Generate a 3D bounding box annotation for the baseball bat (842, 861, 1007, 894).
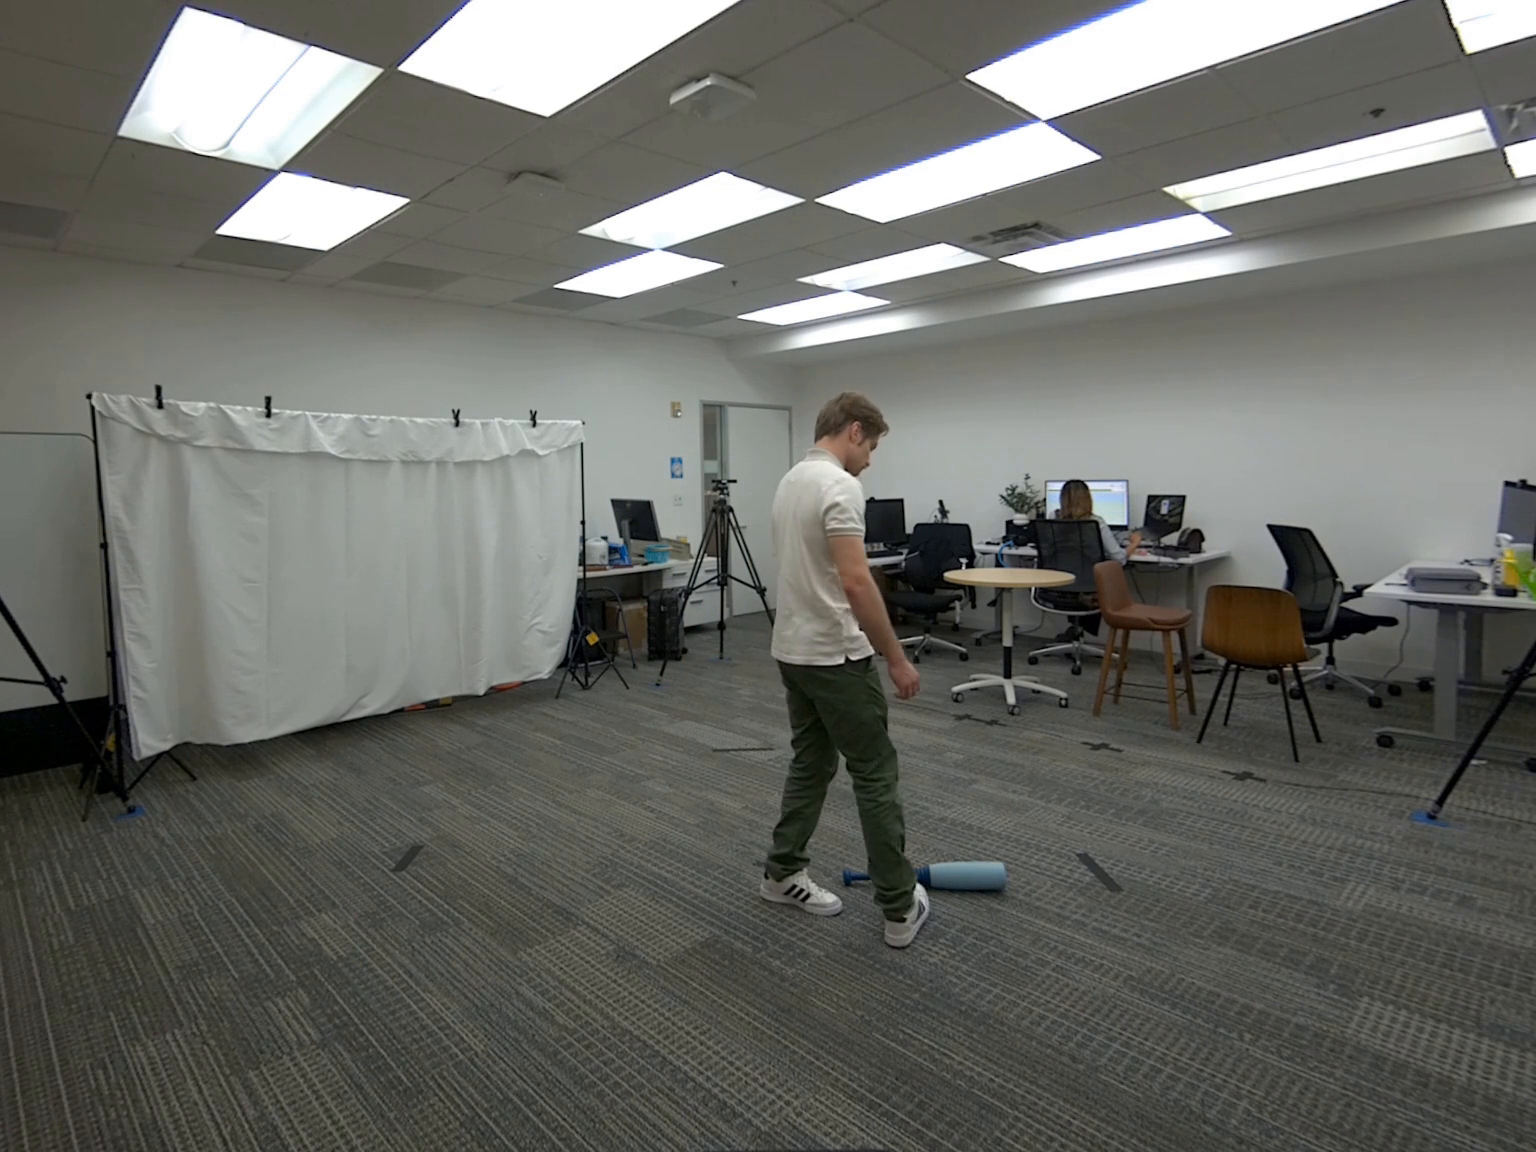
[{"bbox_3d":[0.532,1.024,2.907,0.547,0.089,0.089,-4,4,7],"label":"baseball bat"}]
